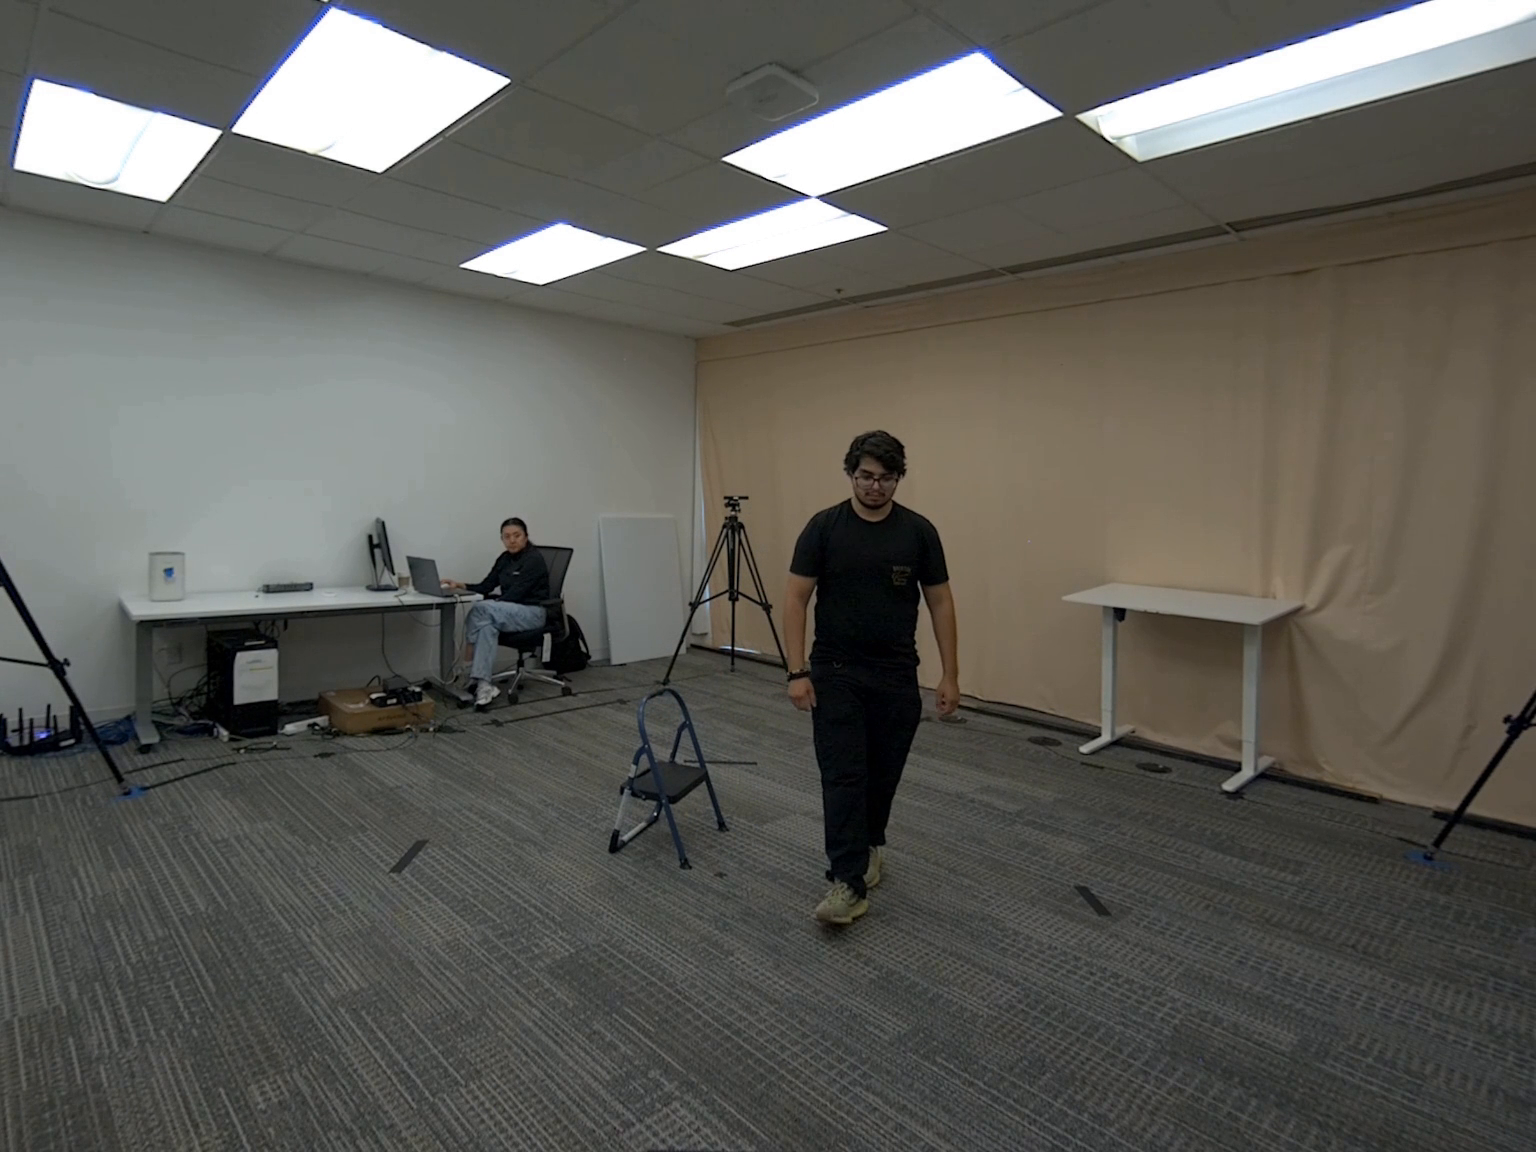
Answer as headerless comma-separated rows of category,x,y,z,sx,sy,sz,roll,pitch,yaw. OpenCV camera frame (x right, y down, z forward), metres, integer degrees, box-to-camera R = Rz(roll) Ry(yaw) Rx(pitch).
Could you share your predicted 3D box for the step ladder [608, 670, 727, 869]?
step ladder,-0.394,0.769,3.388,0.355,0.605,0.425,3,4,19
